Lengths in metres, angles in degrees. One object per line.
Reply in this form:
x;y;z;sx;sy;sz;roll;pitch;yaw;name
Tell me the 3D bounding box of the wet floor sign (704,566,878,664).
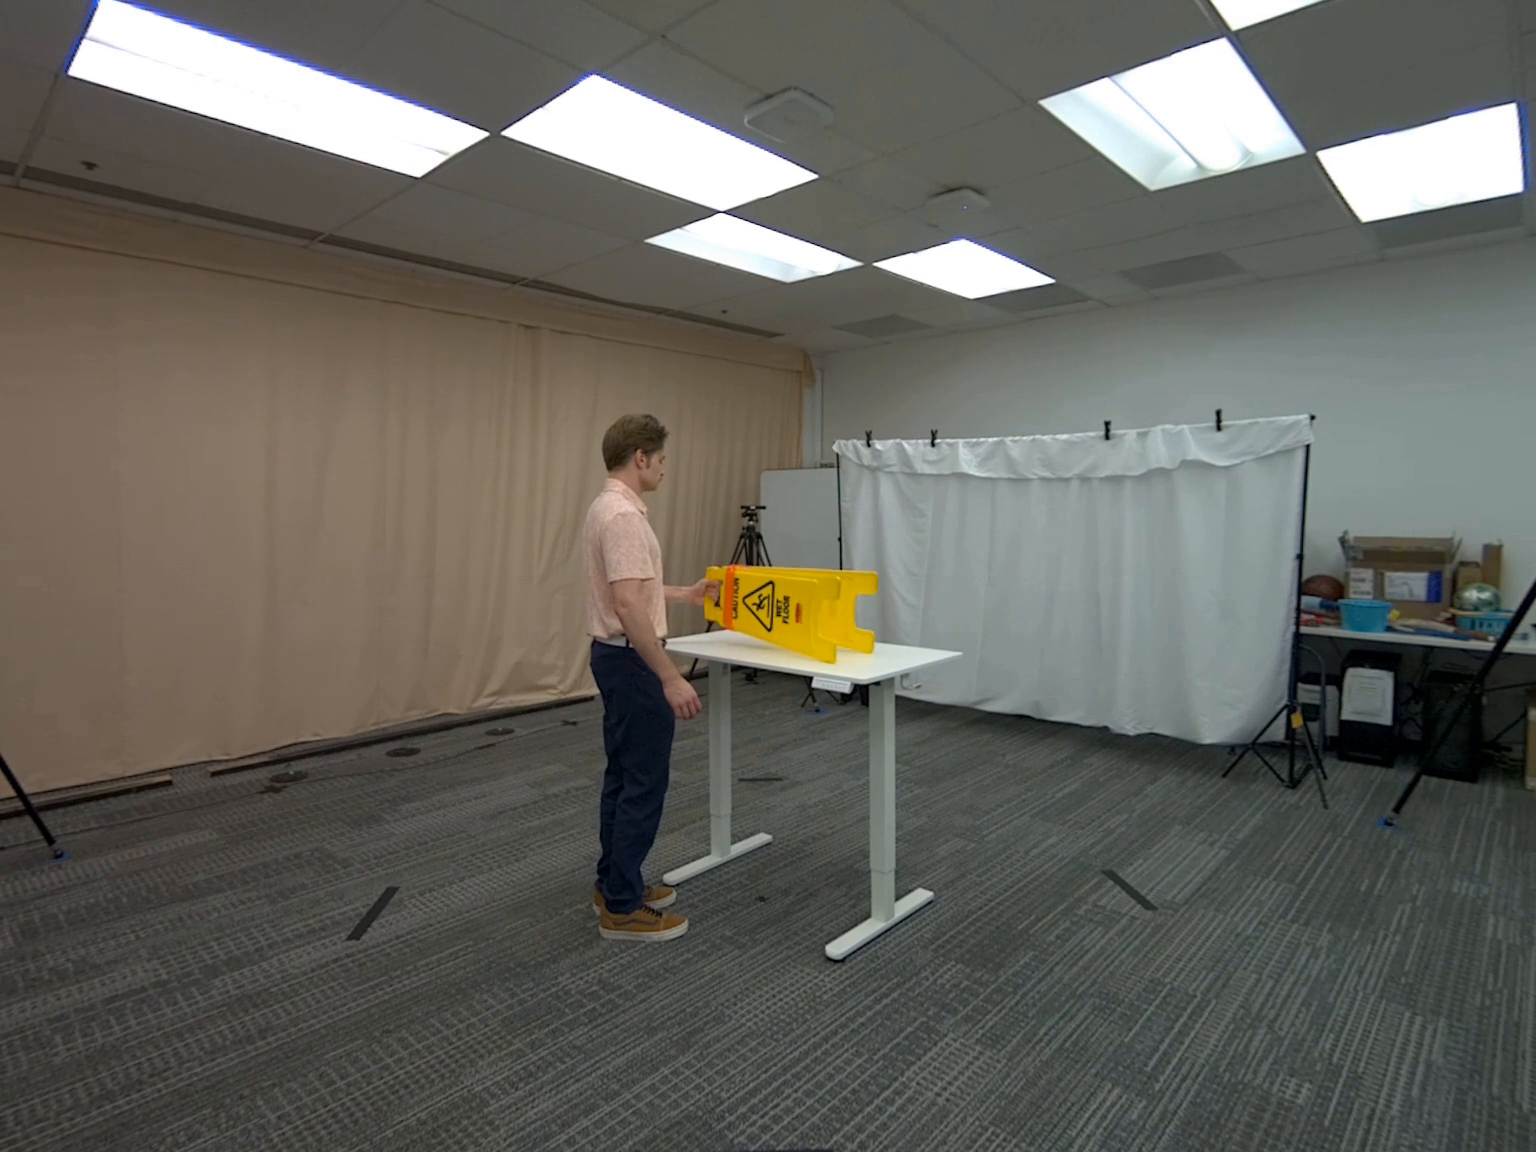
0.037;0.101;2.971;0.668;0.281;0.281;8;8;38;wet floor sign
